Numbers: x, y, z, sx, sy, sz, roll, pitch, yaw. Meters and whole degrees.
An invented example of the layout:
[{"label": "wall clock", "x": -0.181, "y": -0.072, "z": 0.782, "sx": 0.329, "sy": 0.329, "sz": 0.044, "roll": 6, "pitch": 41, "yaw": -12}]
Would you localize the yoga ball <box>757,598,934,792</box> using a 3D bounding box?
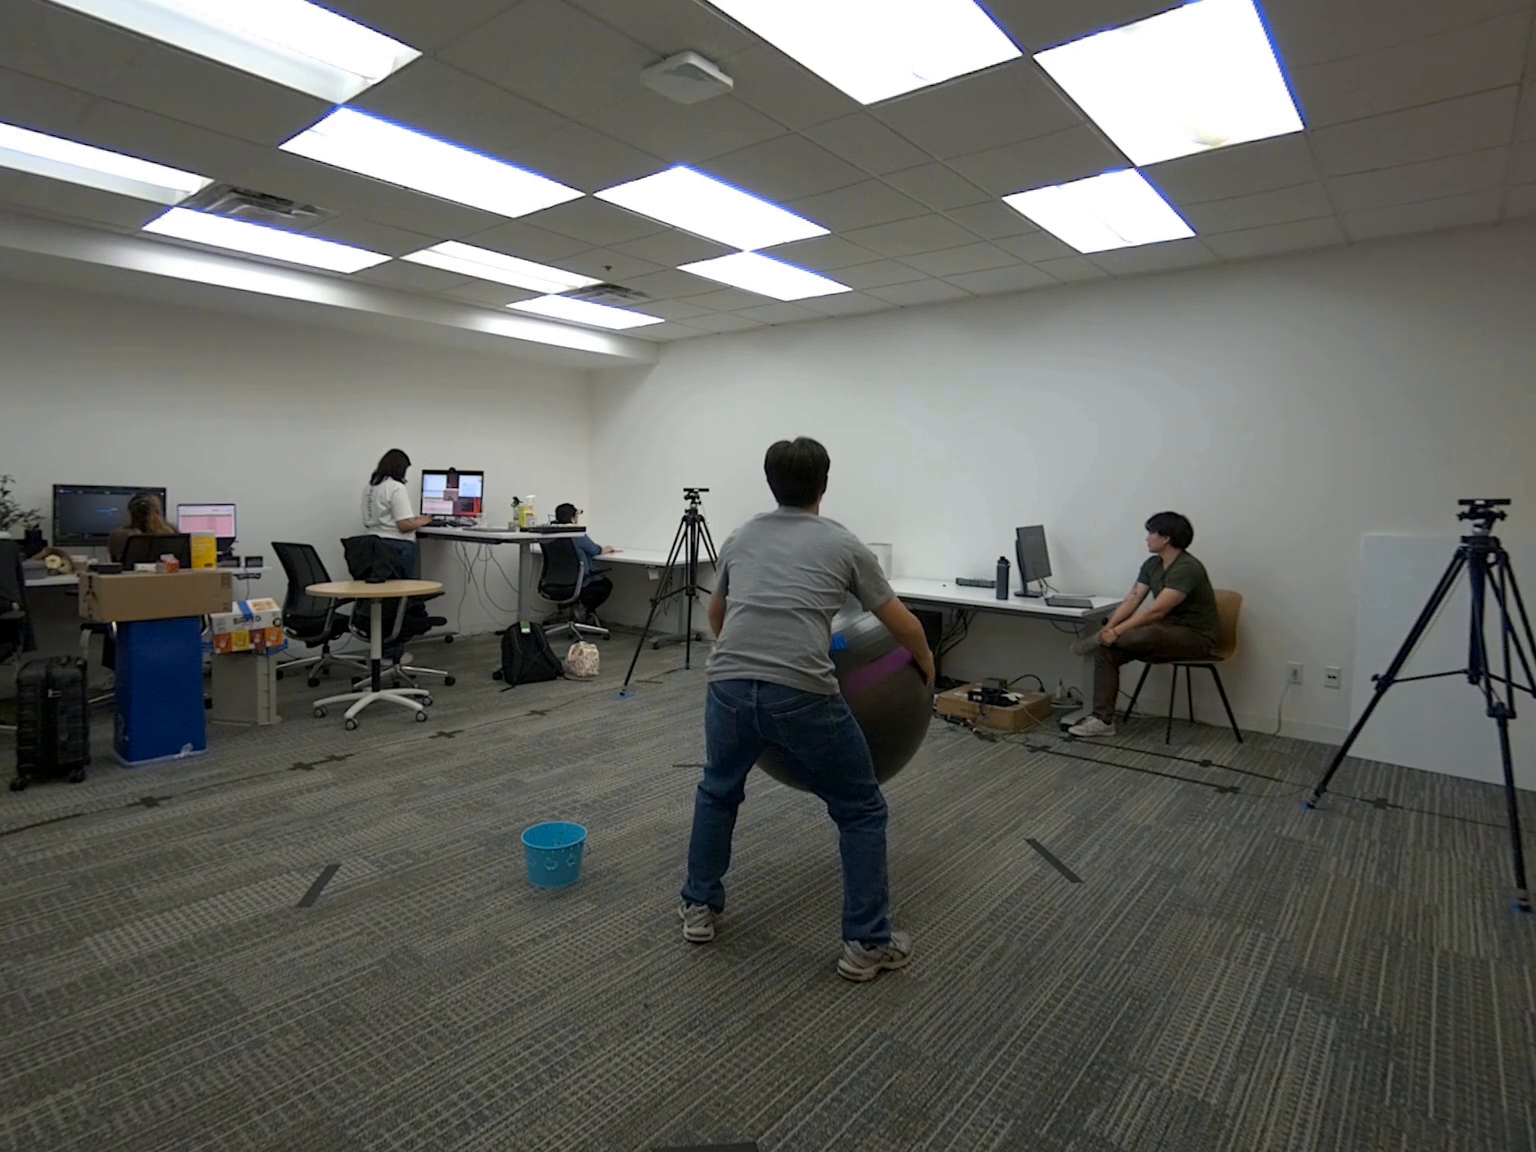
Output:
[{"label": "yoga ball", "x": 0.212, "y": 0.403, "z": 3.102, "sx": 0.757, "sy": 0.755, "sz": 0.762, "roll": 1, "pitch": 4, "yaw": -2}]
